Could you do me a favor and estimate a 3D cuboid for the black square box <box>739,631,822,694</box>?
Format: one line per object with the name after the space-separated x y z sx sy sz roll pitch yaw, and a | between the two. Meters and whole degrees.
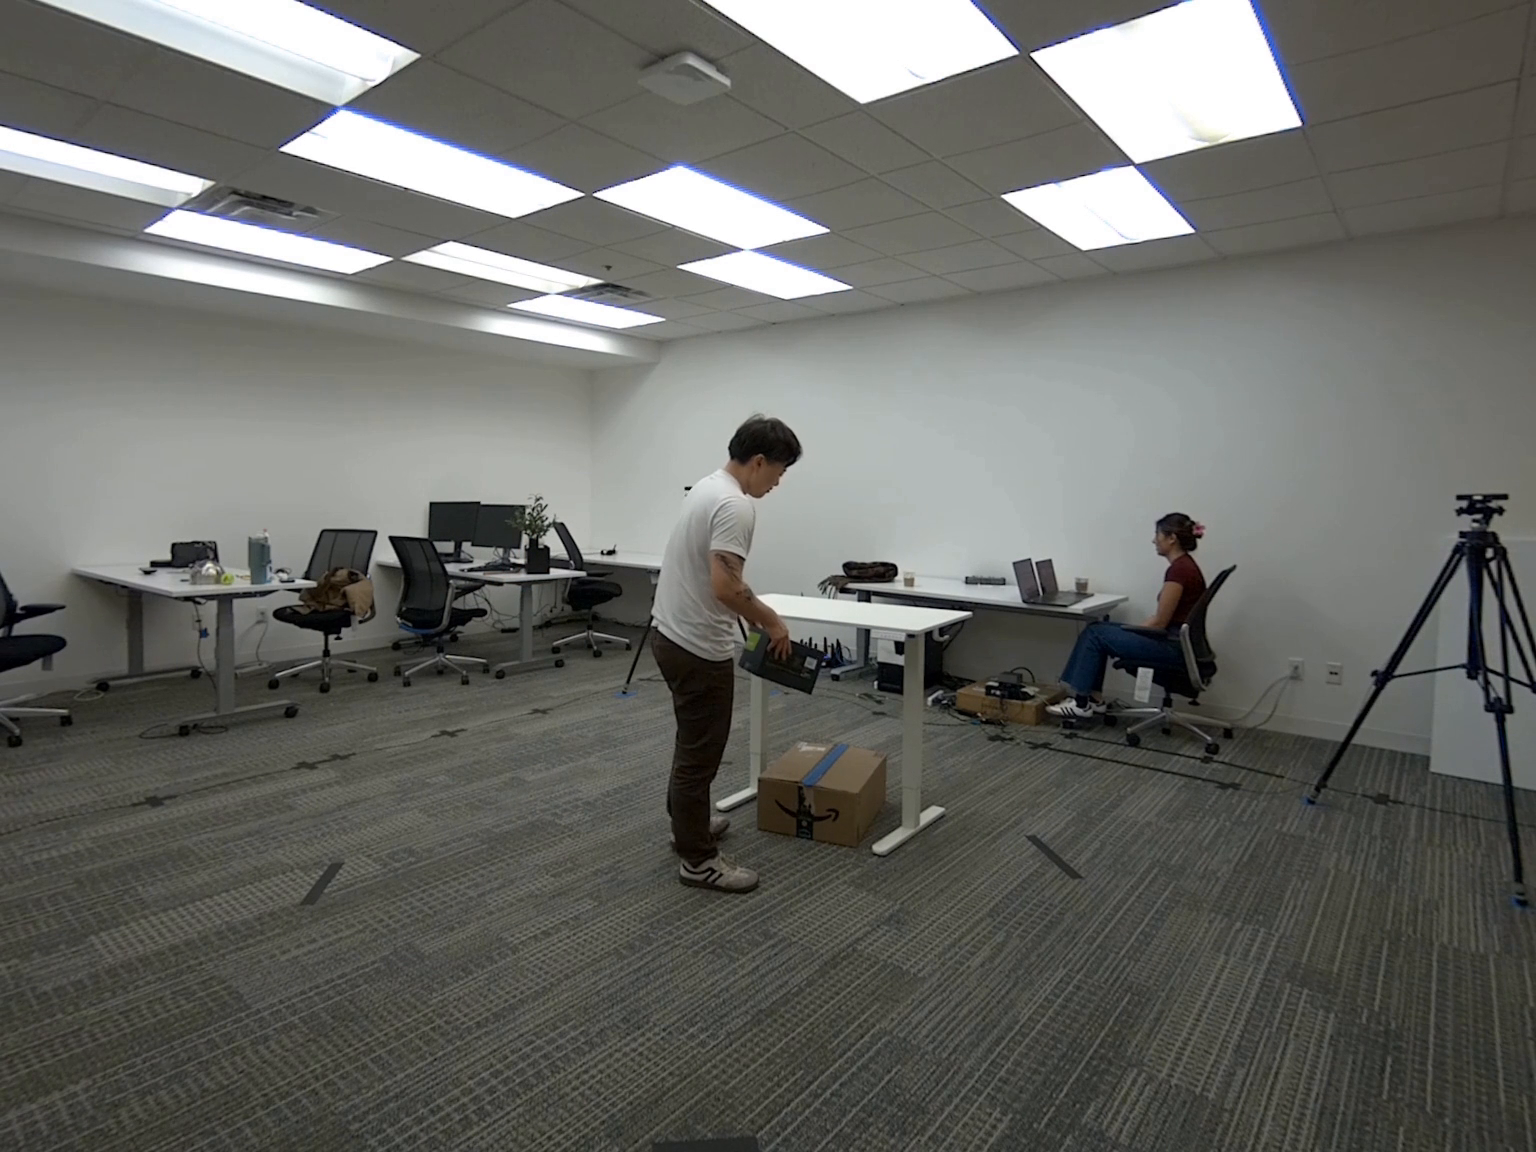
0.029 0.300 3.020 0.212 0.156 0.232 21 -4 -18 | black square box
